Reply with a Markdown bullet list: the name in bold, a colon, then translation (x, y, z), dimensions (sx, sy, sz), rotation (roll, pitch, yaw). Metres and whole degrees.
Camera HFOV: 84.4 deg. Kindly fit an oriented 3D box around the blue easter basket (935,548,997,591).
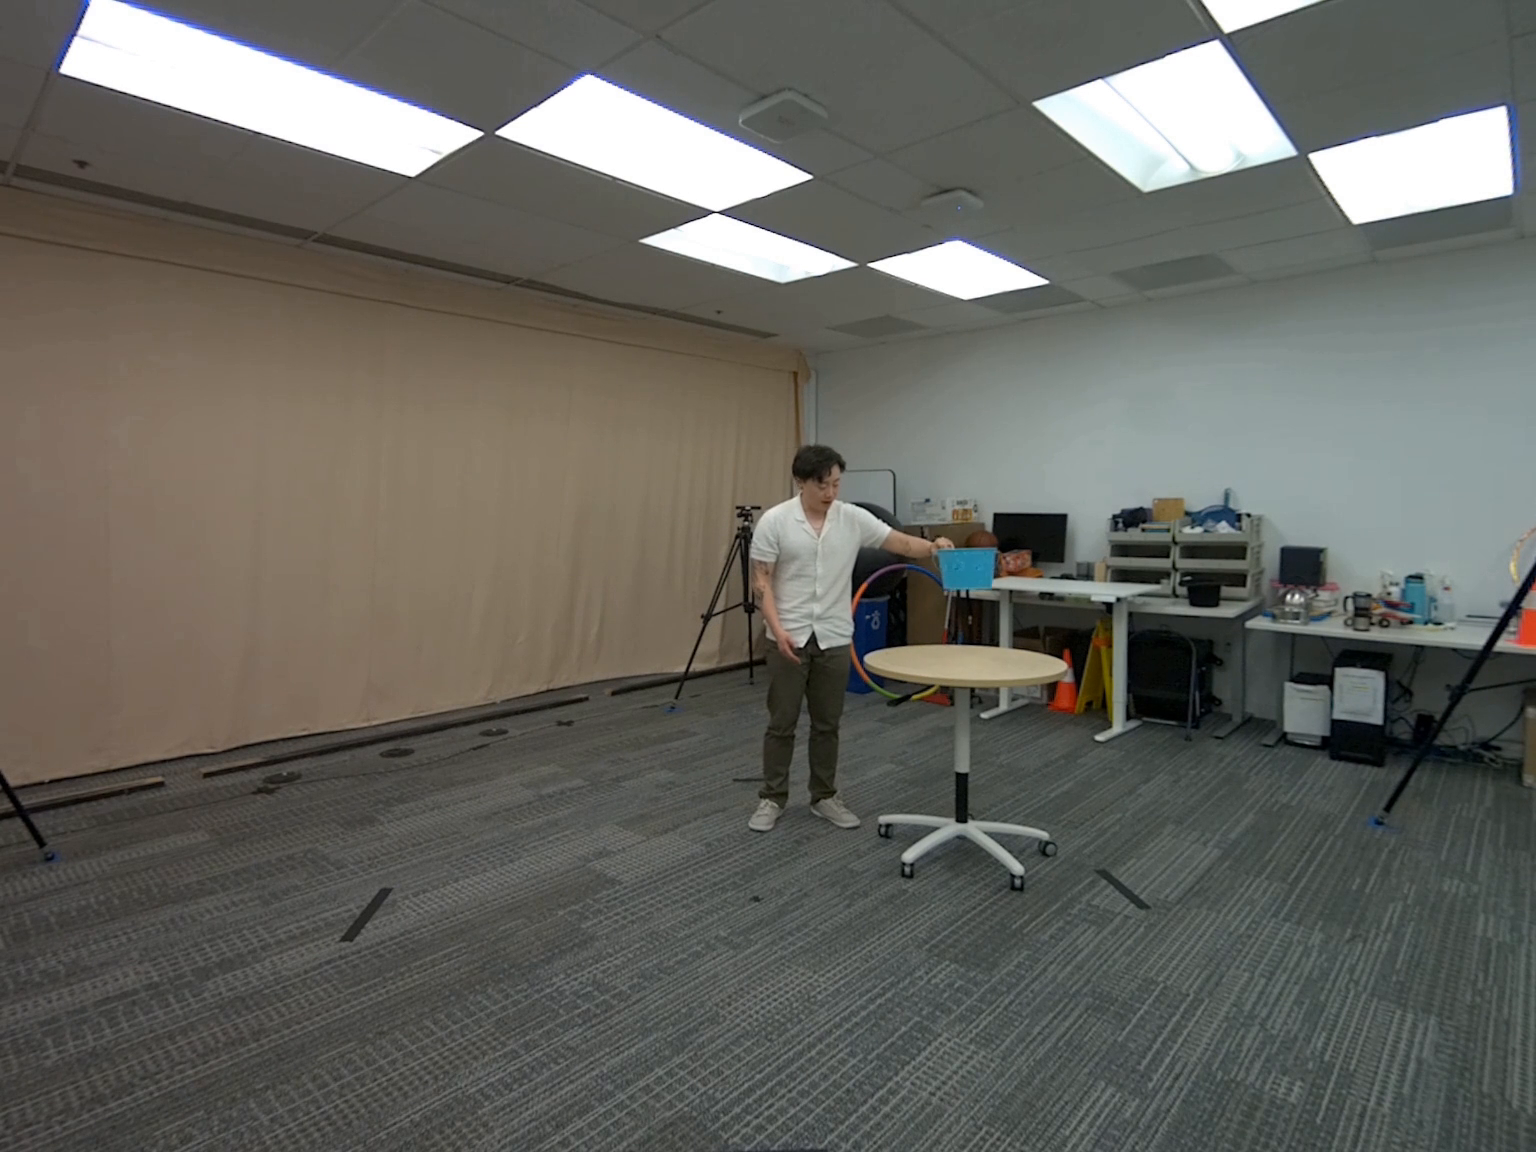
- **blue easter basket**: translation (0.782, -0.028, 3.276), dimensions (0.243, 0.156, 0.244), rotation (0, 2, -2)
